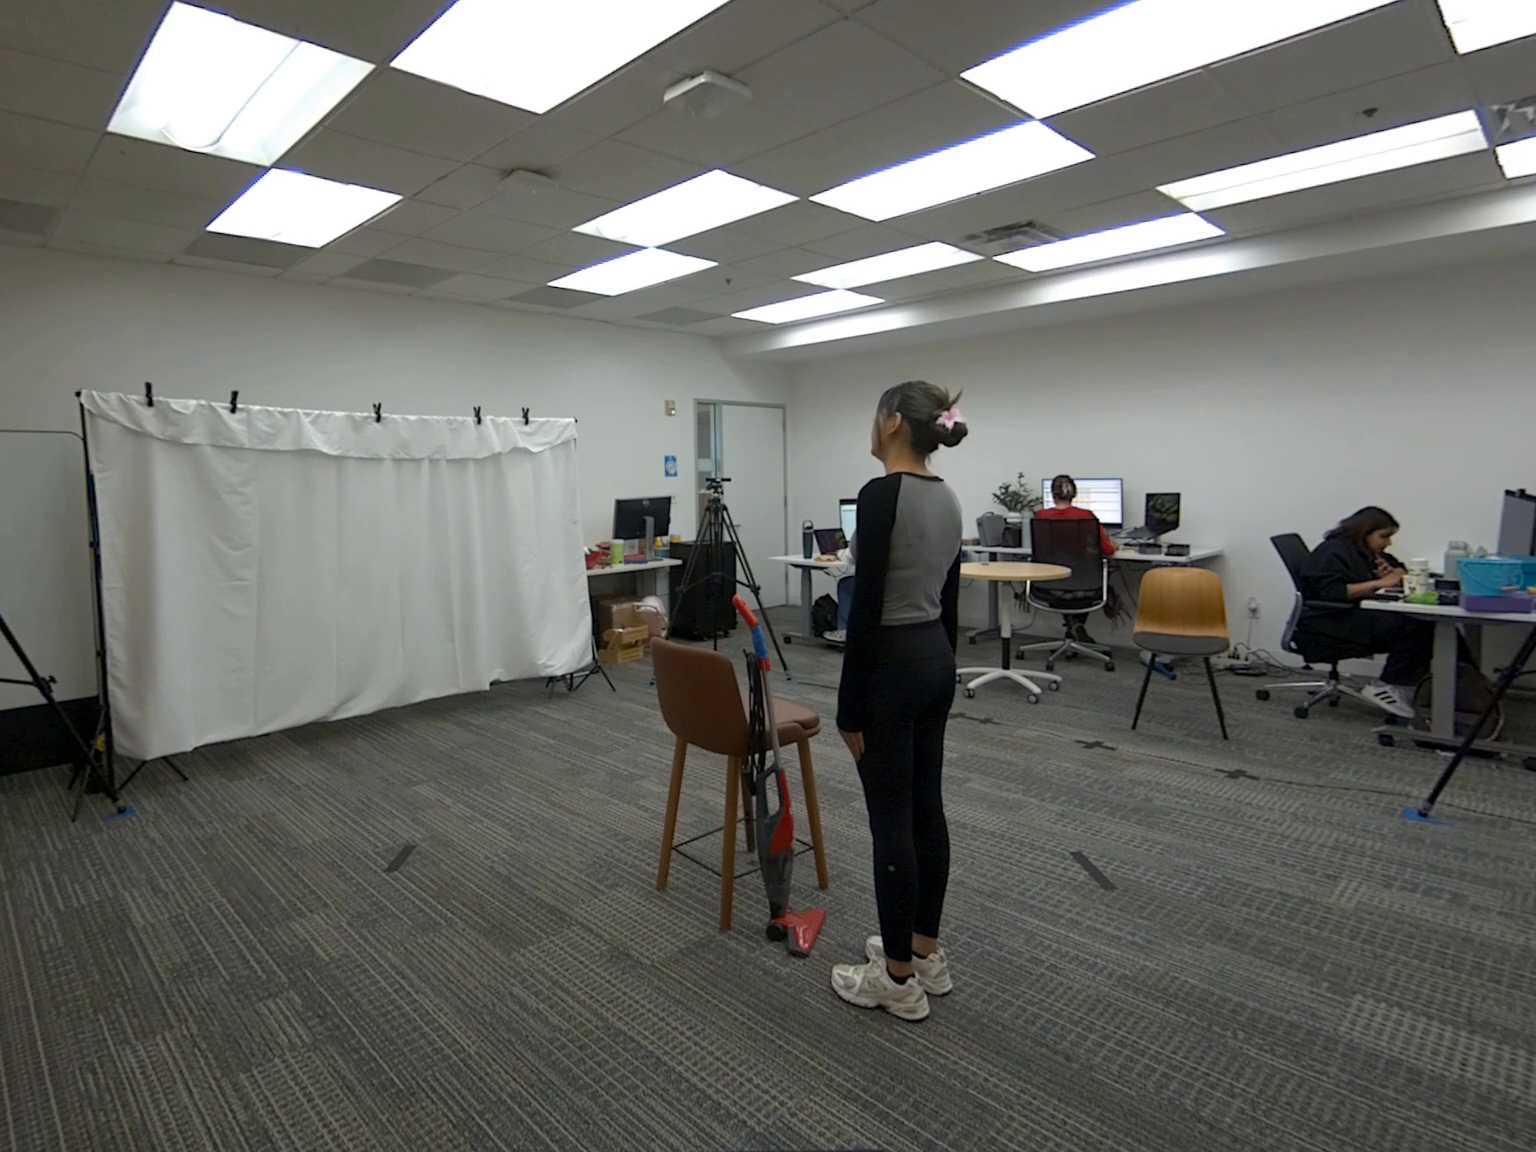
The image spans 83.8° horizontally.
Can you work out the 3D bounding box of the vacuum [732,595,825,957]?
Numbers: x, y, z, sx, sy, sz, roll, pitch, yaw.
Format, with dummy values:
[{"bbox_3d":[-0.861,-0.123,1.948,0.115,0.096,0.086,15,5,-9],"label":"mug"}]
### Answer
[{"bbox_3d":[0.007,0.577,2.619,0.140,1.051,0.259,-1,-2,-34],"label":"vacuum"}]
